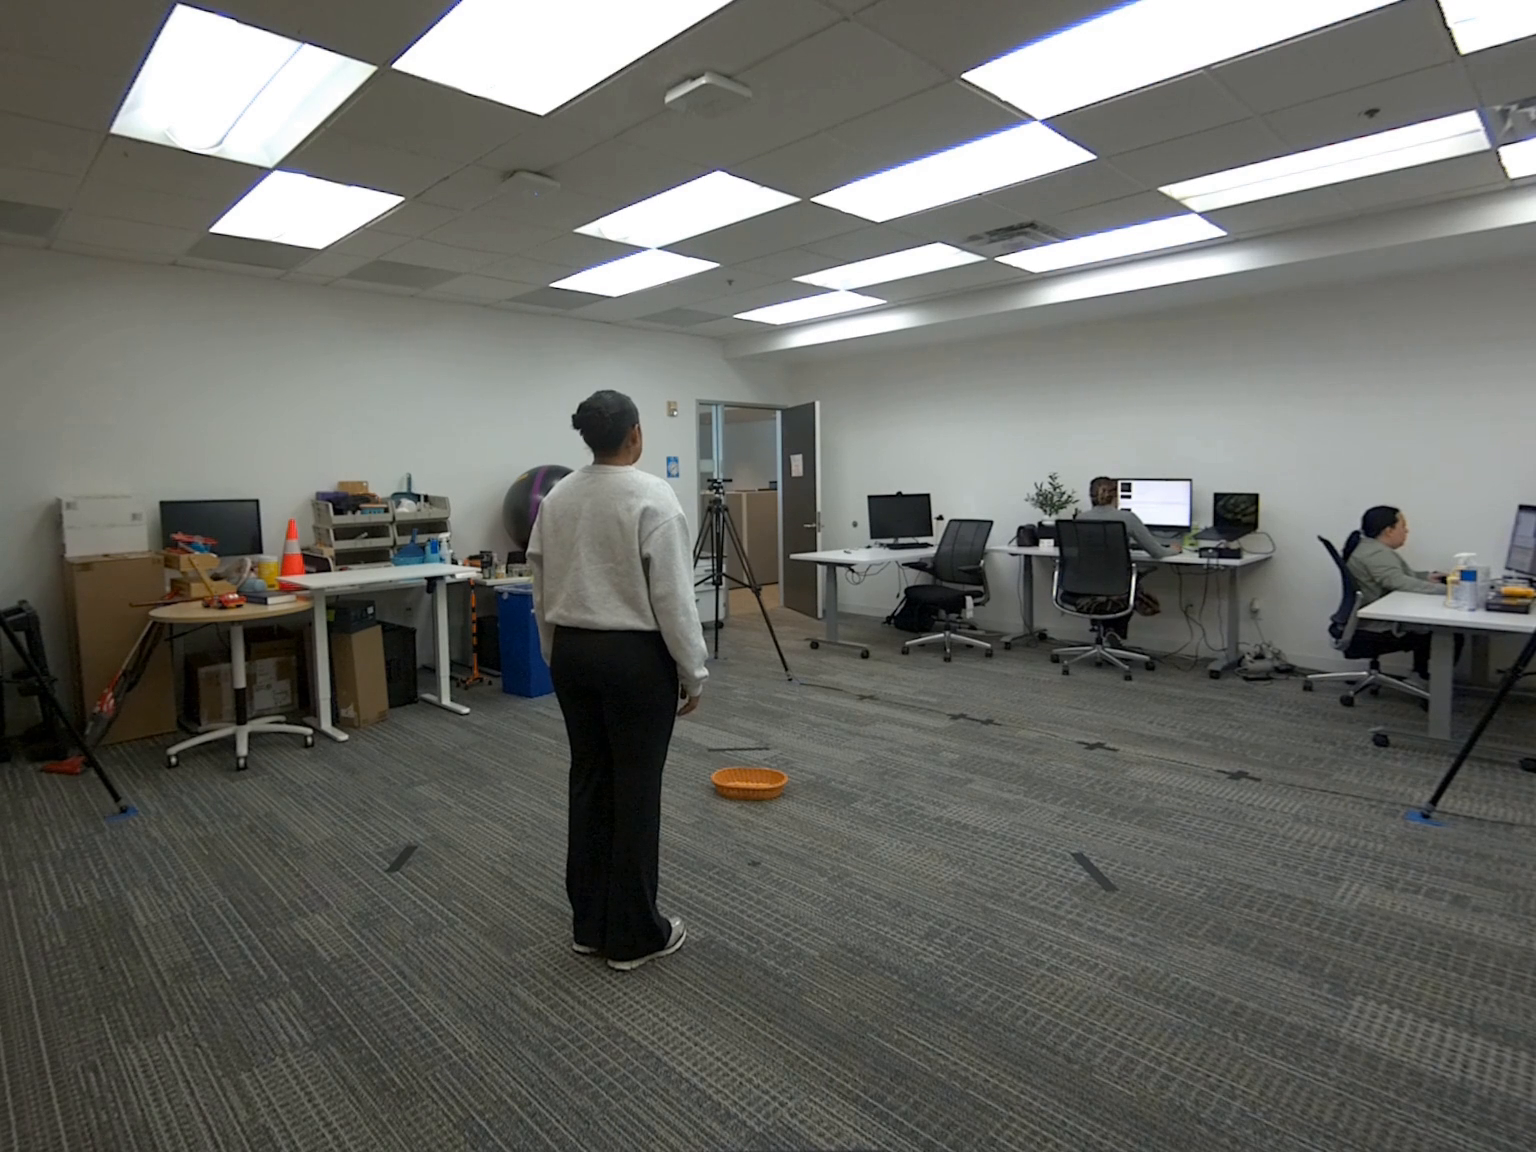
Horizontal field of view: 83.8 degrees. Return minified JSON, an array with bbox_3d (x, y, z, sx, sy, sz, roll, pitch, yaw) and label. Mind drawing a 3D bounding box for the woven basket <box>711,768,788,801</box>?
[{"bbox_3d":[-0.082,0.929,3.814,0.356,0.073,0.250,1,7,15],"label":"woven basket"}]
